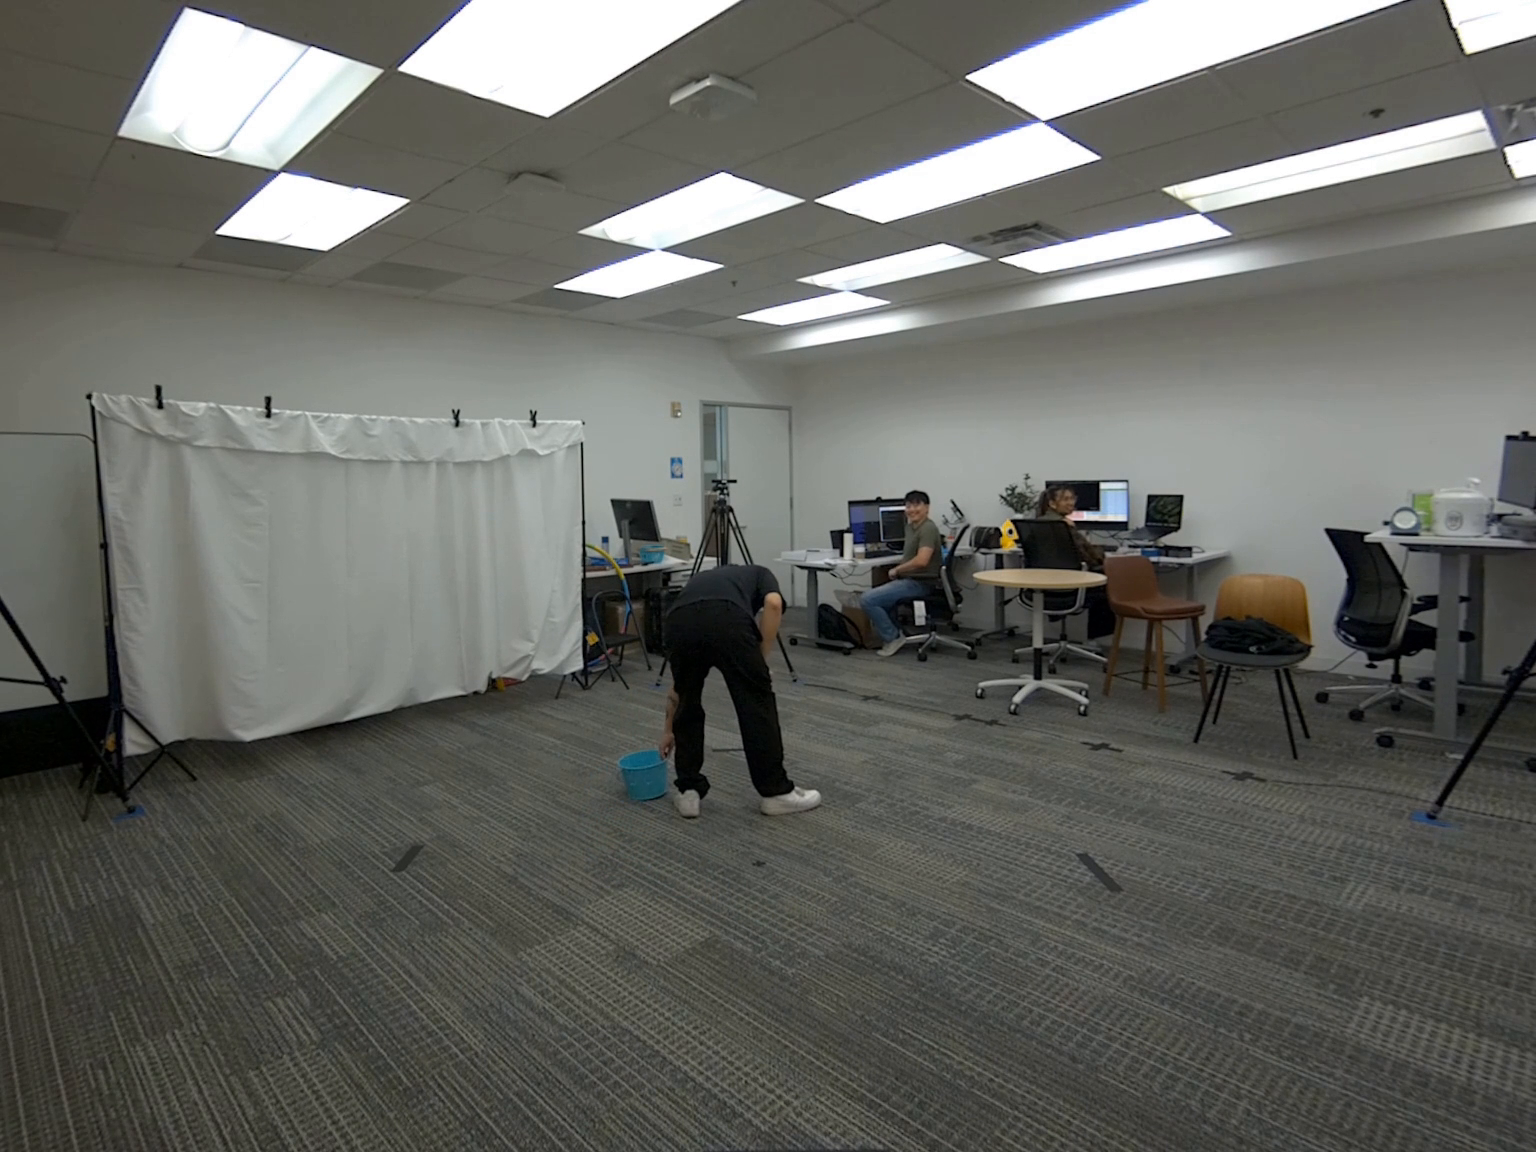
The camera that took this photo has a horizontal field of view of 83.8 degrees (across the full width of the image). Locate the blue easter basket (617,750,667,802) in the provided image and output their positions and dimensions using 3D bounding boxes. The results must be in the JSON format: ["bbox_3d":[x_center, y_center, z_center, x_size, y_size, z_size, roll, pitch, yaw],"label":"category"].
[{"bbox_3d":[-0.546,0.892,3.830,0.243,0.155,0.245,-5,8,-1],"label":"blue easter basket"}]
